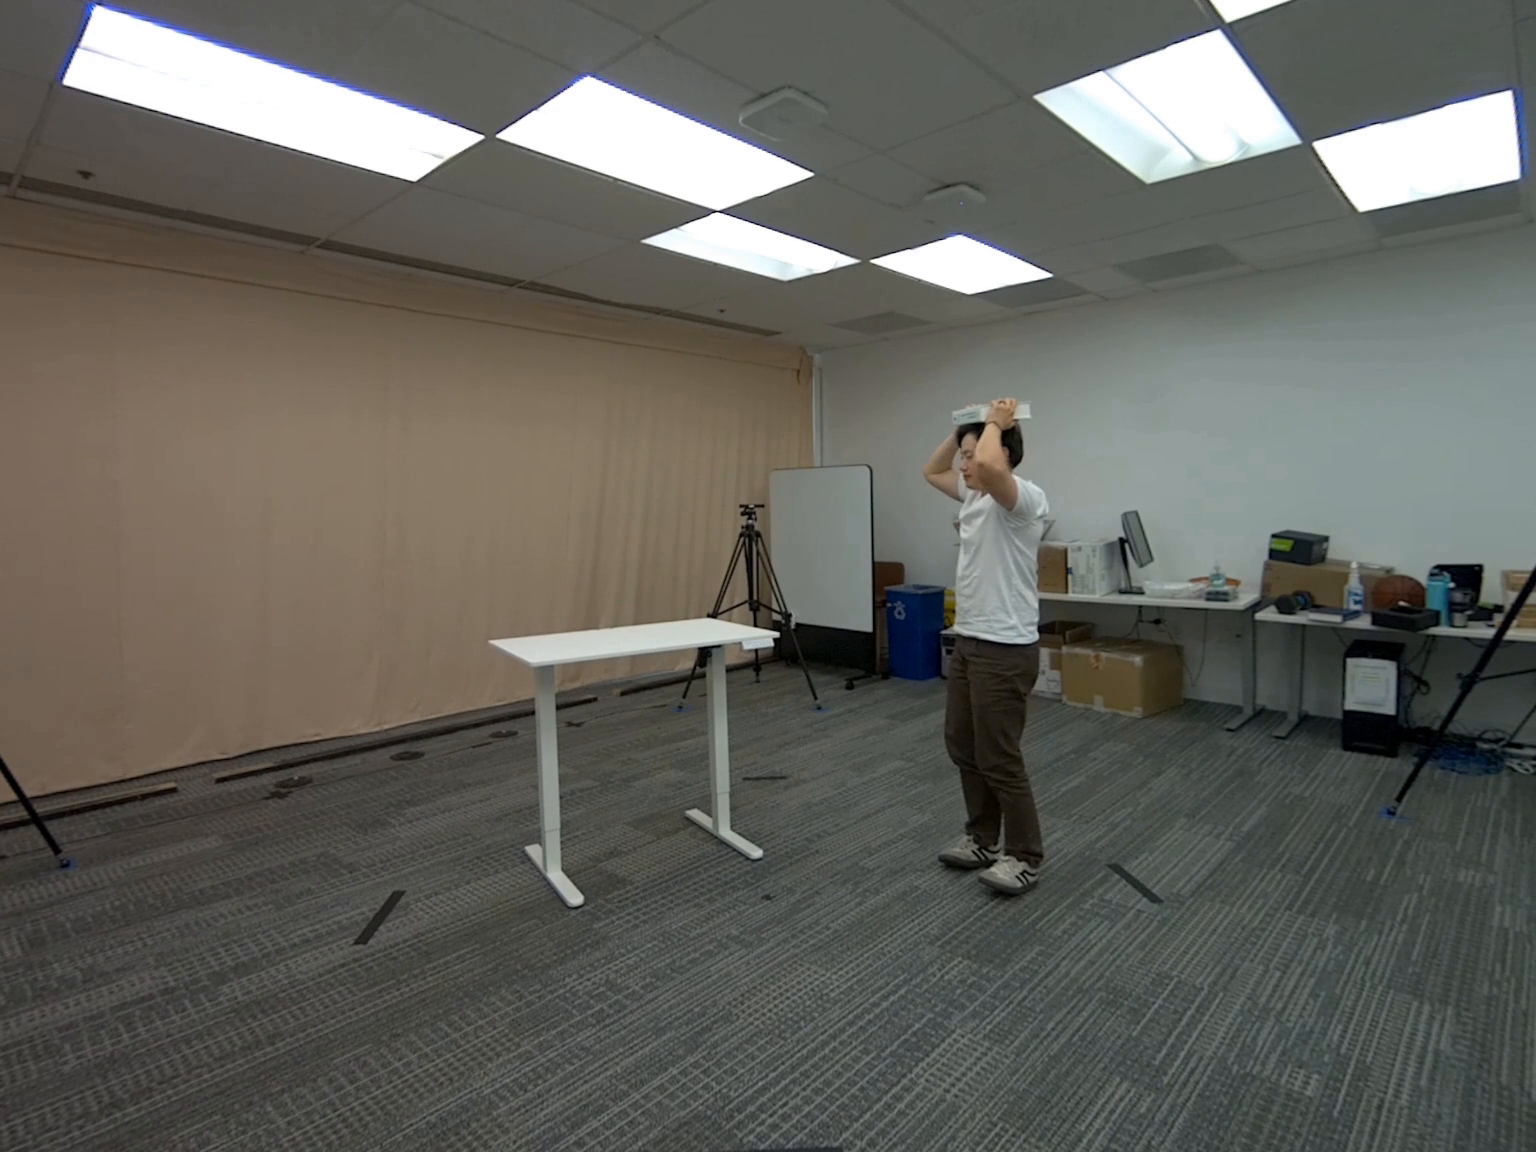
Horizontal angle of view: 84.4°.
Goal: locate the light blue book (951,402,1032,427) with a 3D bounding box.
[{"bbox_3d":[0.817,-0.586,3.051,0.191,0.059,0.263,-8,8,-5],"label":"light blue book"}]
